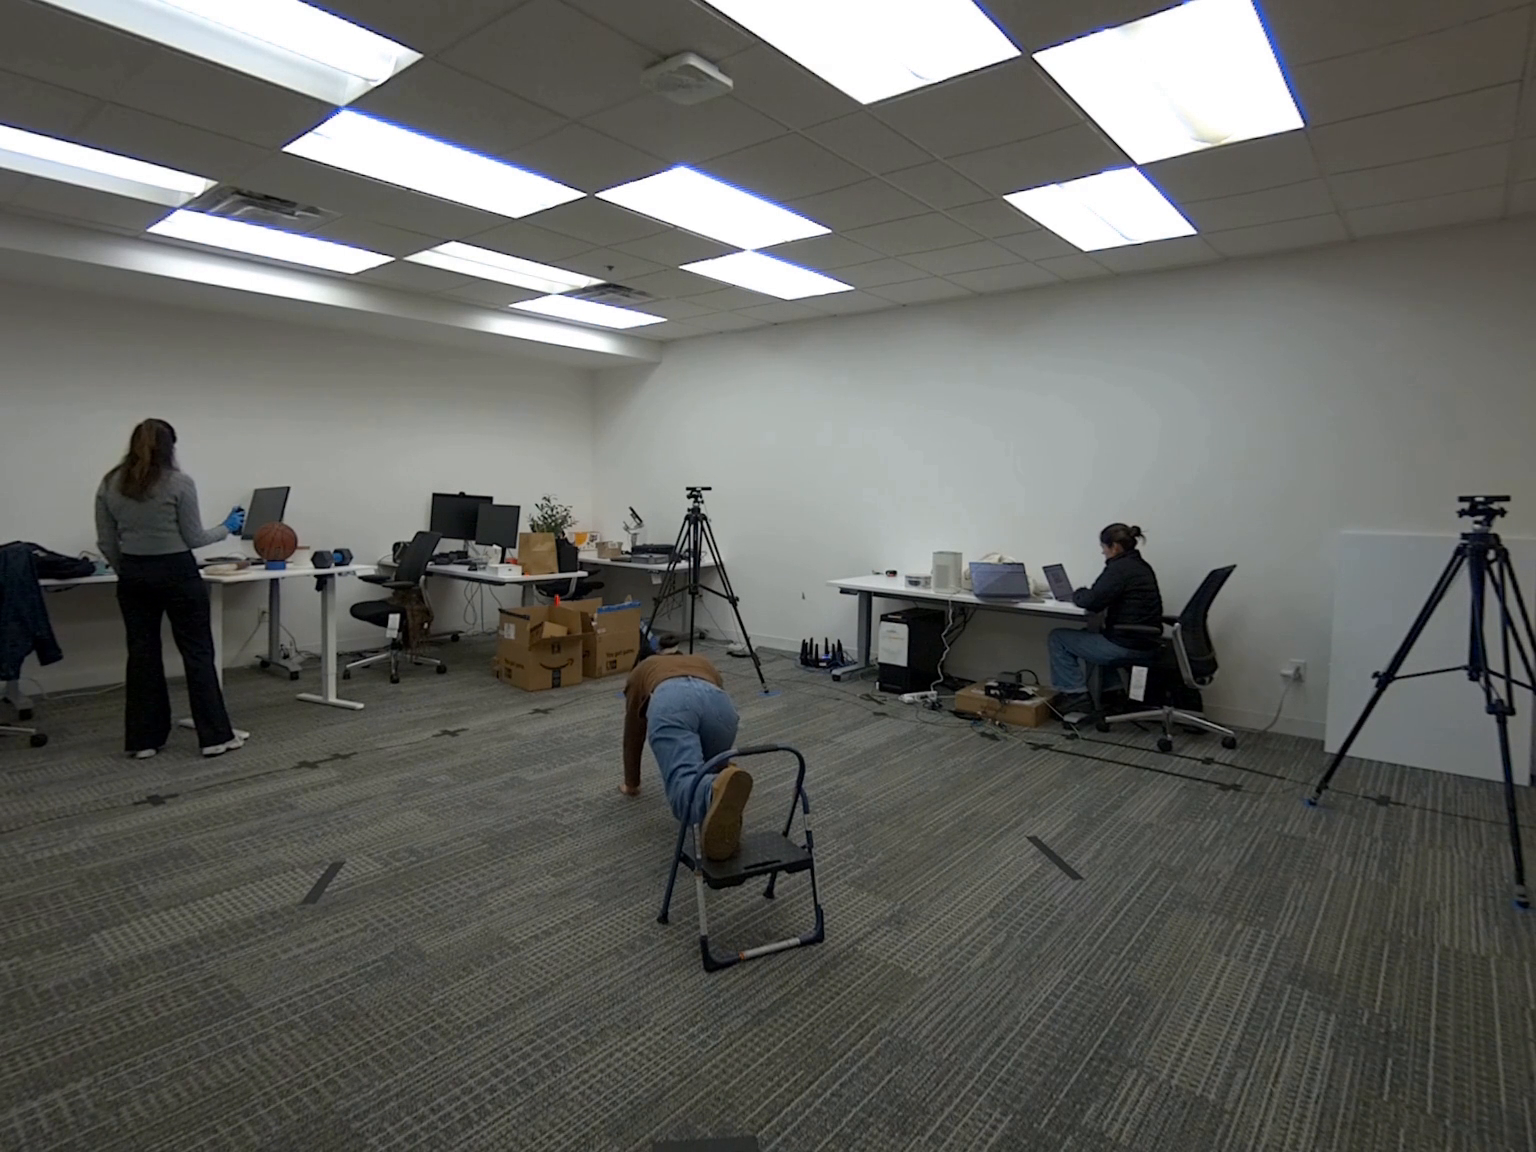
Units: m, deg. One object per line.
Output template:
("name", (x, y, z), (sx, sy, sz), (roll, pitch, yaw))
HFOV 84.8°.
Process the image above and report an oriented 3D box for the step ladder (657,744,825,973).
("step ladder", (-0.088, 0.812, 2.659), (0.419, 0.604, 0.360), (-1, 4, -30))
